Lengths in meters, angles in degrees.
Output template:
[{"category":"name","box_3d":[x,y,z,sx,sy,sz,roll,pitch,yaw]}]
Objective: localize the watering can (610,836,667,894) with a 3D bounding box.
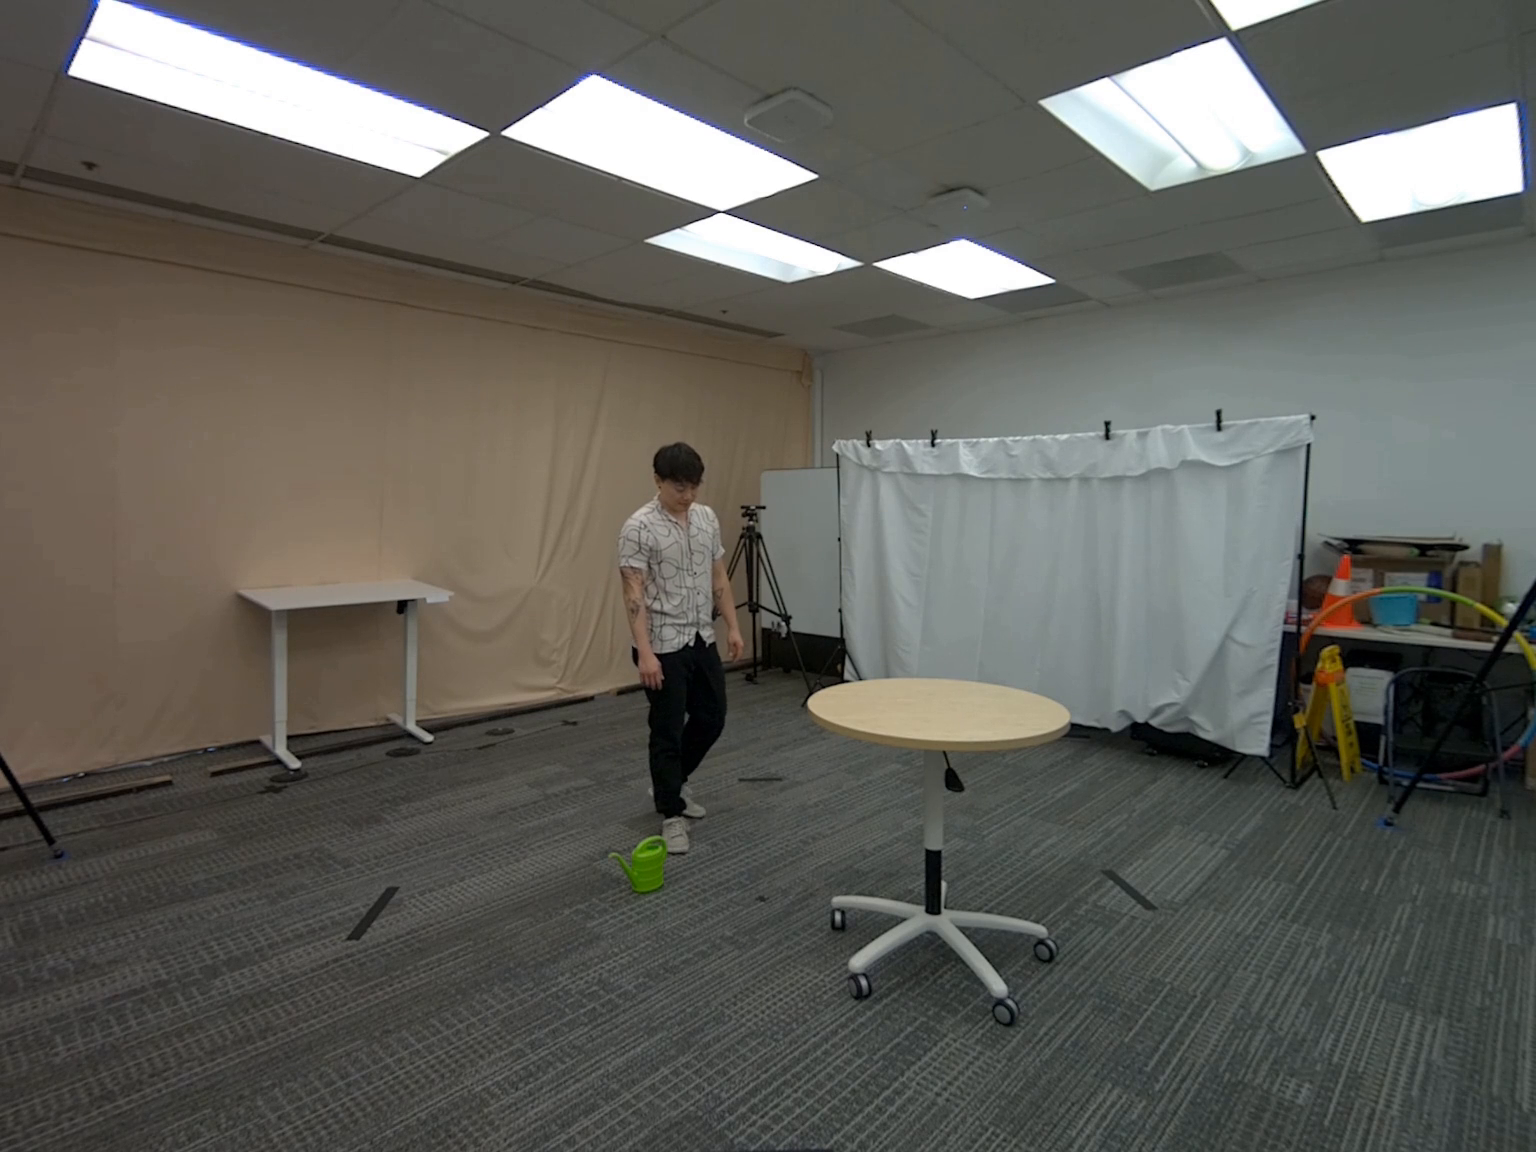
[{"category":"watering can","box_3d":[-0.477,1.047,3.061,0.270,0.177,0.101,-2,2,-38]}]
